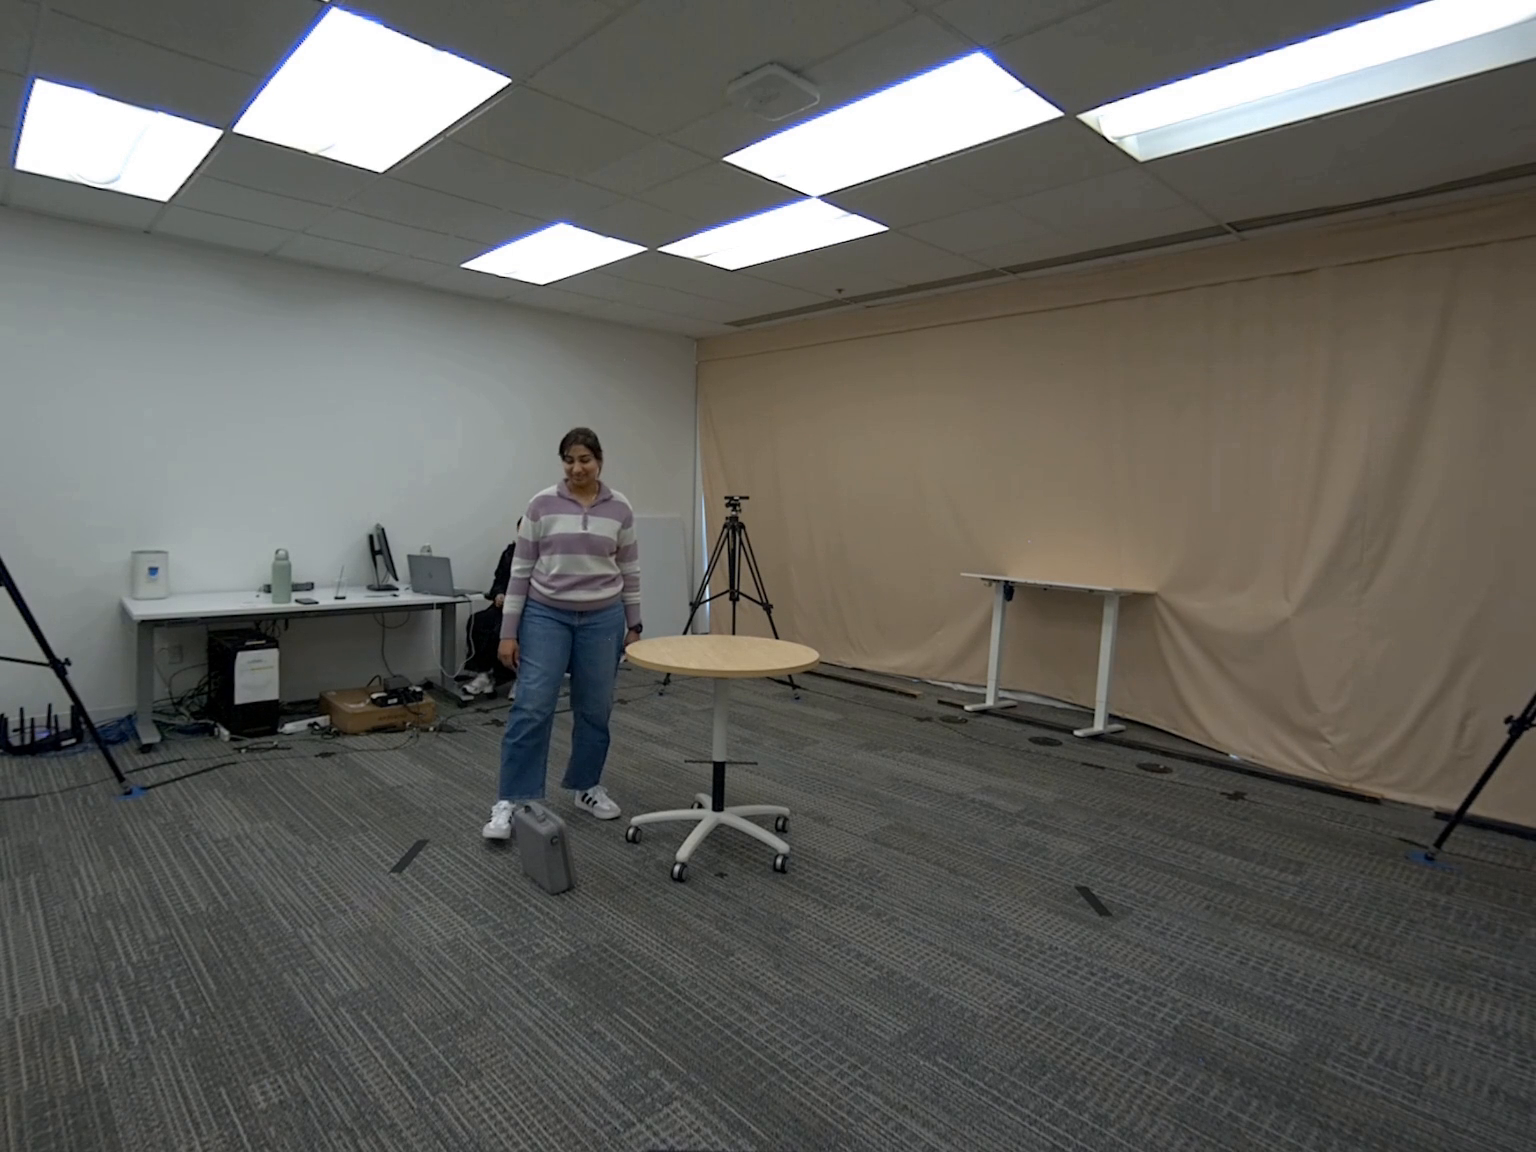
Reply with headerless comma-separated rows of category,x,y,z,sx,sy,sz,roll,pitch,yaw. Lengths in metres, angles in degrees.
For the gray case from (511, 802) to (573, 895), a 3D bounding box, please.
gray case,-0.804,0.968,3.002,0.102,0.258,0.263,-14,12,-37
